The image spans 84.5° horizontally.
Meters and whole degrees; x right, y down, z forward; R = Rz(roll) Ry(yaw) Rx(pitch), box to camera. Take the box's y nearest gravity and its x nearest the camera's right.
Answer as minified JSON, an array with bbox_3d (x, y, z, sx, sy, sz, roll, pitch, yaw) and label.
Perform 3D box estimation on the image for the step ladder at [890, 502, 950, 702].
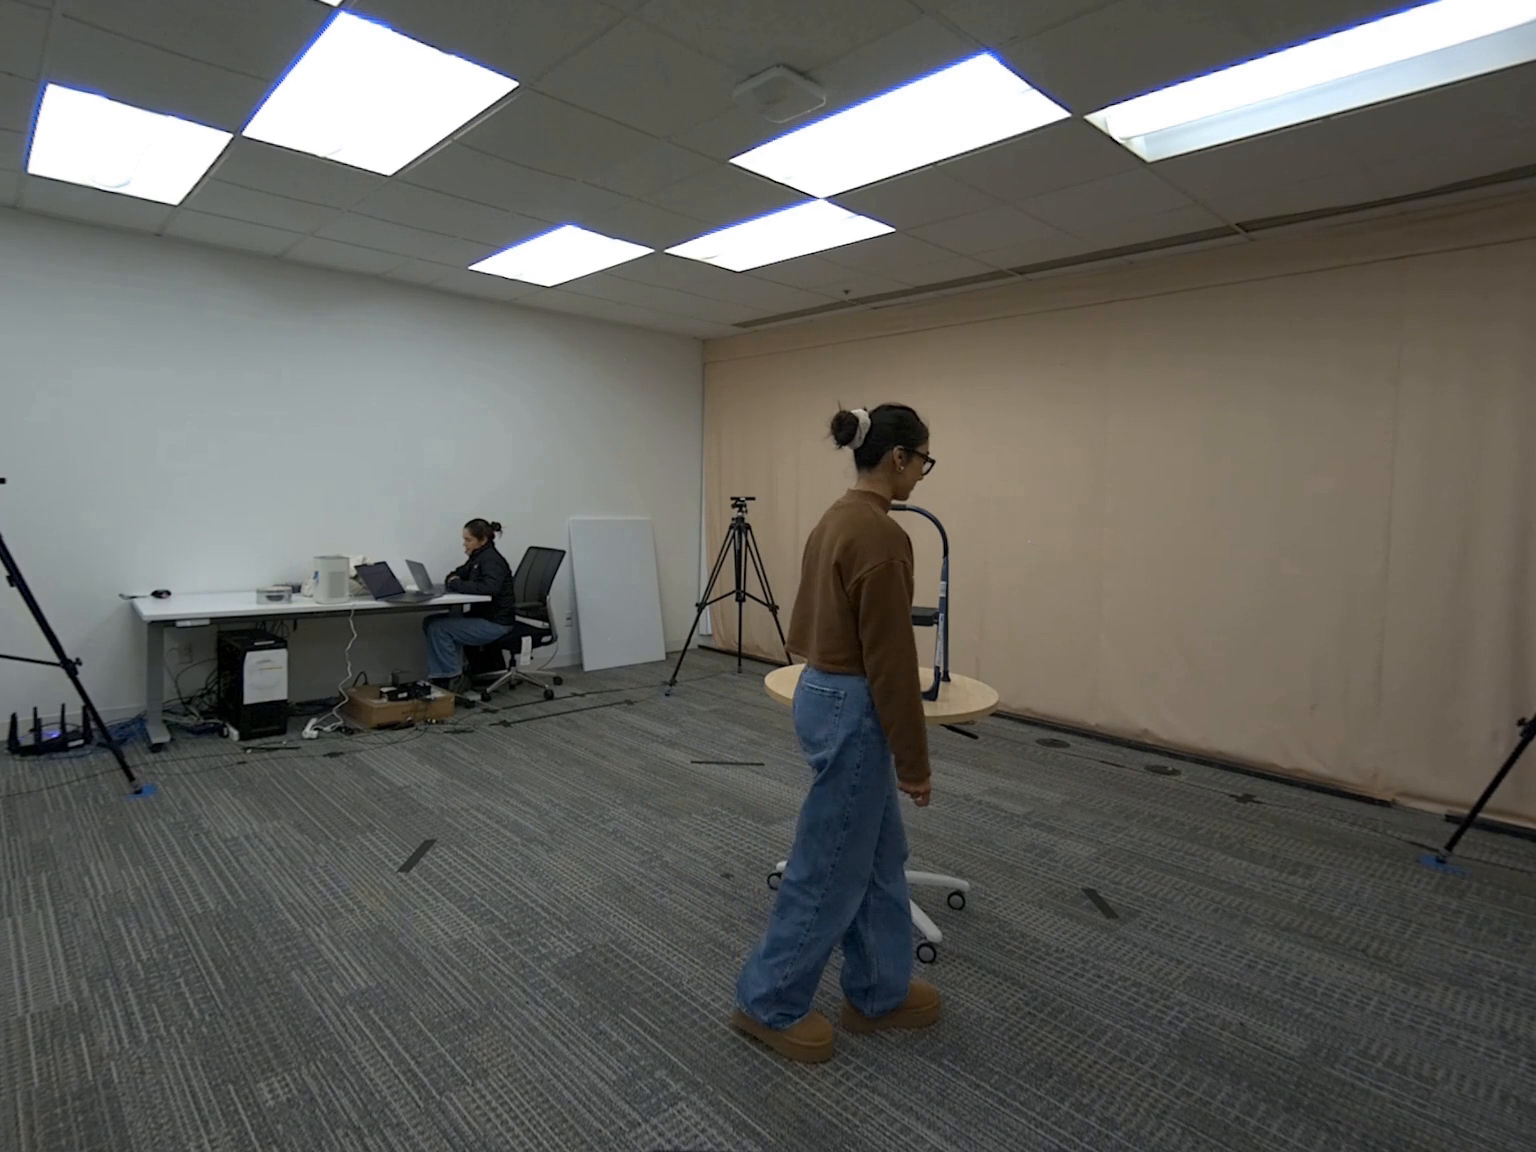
[{"bbox_3d":[0.392,0.064,2.818,0.437,0.605,0.344,4,4,19],"label":"step ladder"}]
